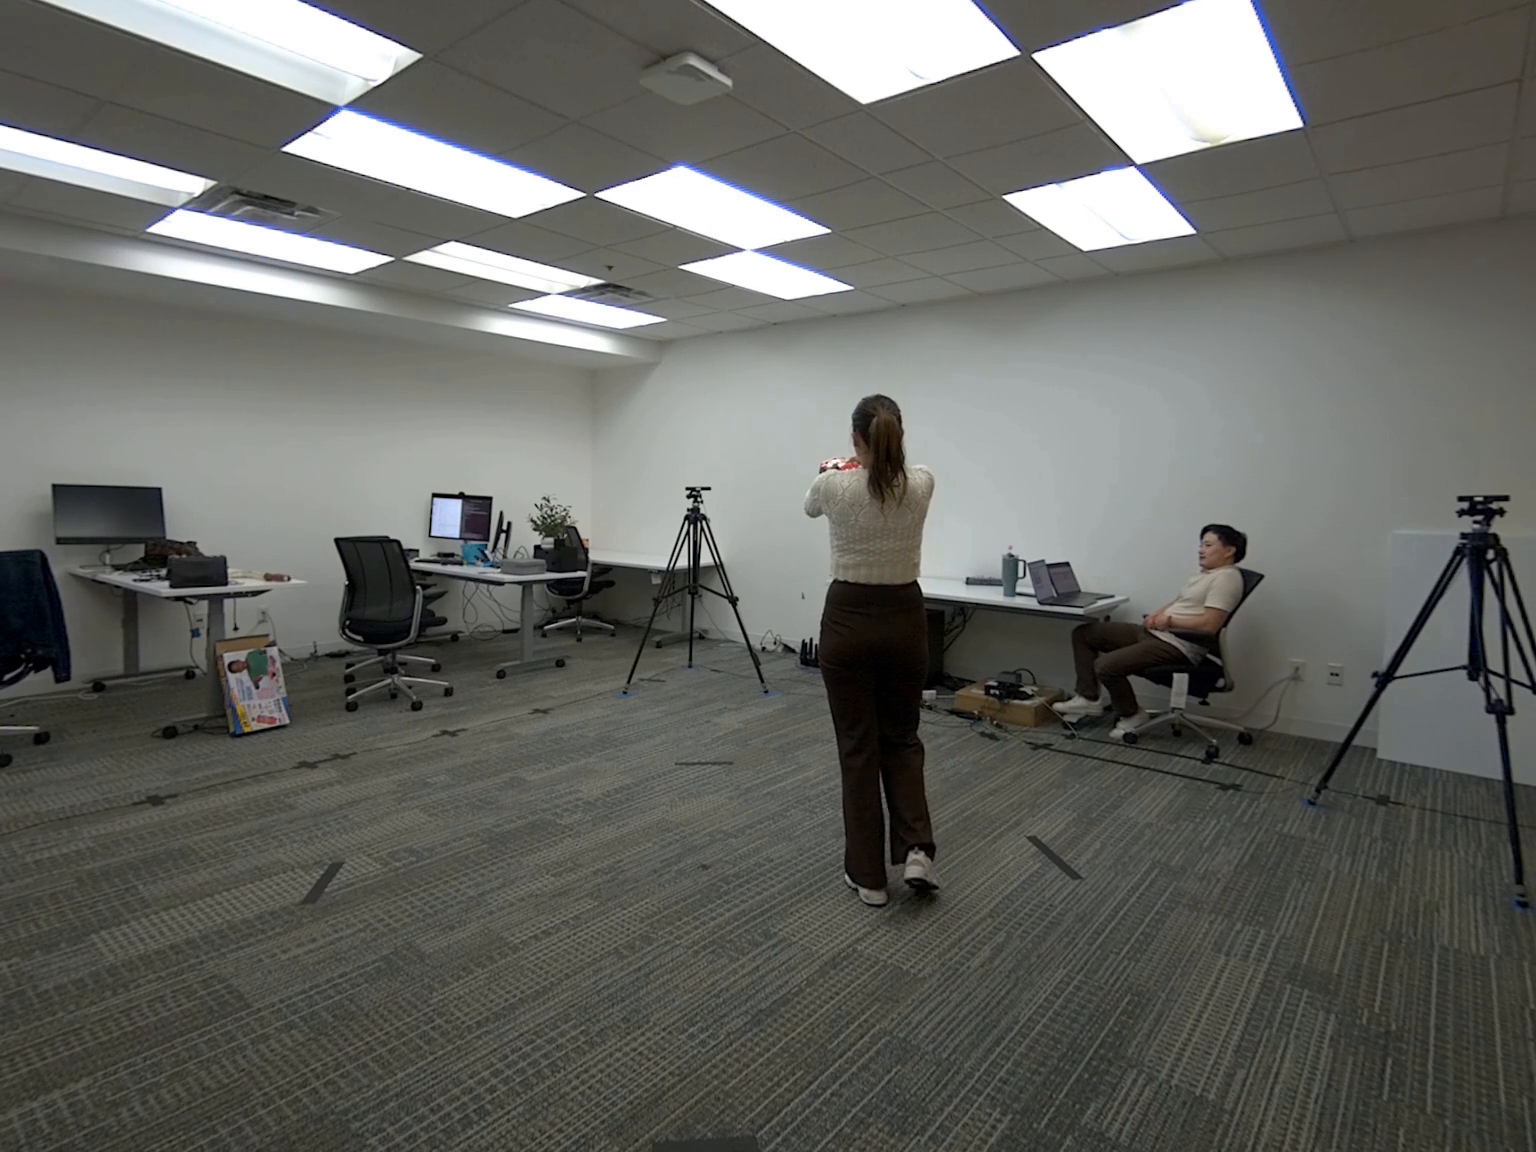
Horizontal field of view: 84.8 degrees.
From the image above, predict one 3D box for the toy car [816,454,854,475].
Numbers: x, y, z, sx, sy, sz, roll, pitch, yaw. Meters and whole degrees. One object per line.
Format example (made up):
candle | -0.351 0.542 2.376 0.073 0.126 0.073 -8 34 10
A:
toy car | 0.326 -0.433 3.461 0.129 0.081 0.263 -23 21 -22
